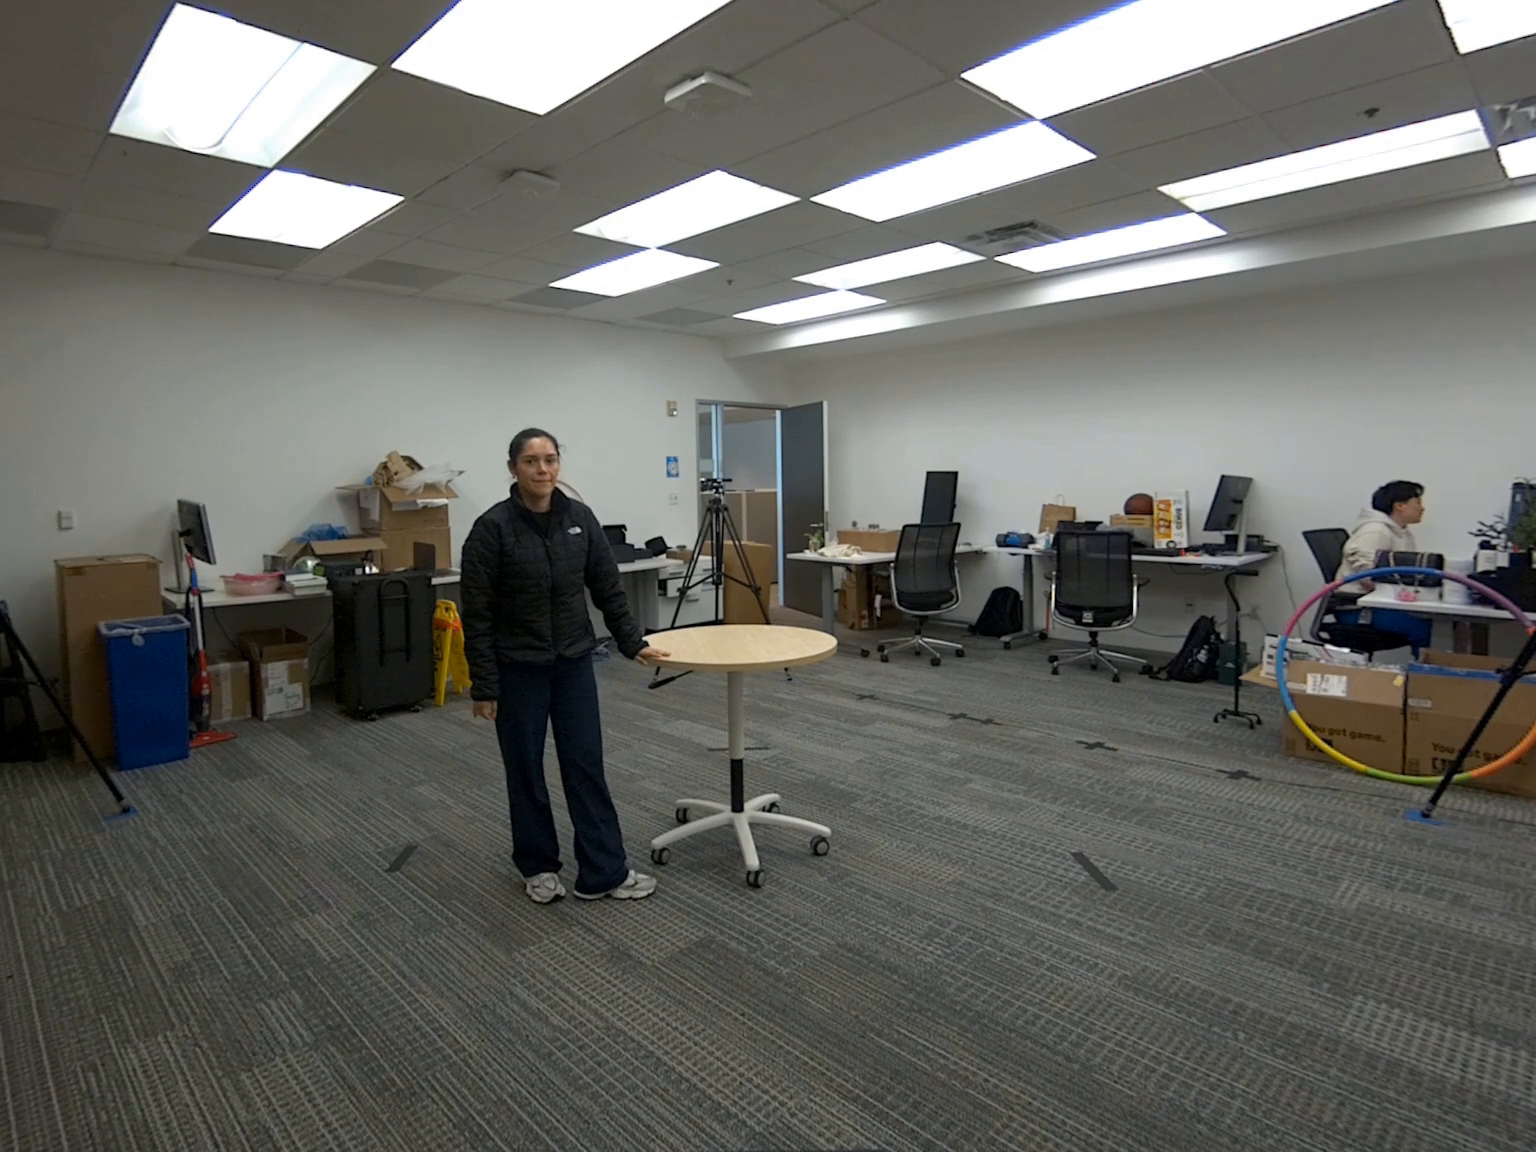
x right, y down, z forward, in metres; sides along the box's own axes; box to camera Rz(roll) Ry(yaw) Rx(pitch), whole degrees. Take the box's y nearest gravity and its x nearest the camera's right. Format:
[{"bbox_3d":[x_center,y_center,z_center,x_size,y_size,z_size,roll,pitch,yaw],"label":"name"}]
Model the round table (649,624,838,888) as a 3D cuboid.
[{"bbox_3d":[-0.118,0.636,3.226,0.784,0.784,0.788,-1,4,-2],"label":"round table"}]
